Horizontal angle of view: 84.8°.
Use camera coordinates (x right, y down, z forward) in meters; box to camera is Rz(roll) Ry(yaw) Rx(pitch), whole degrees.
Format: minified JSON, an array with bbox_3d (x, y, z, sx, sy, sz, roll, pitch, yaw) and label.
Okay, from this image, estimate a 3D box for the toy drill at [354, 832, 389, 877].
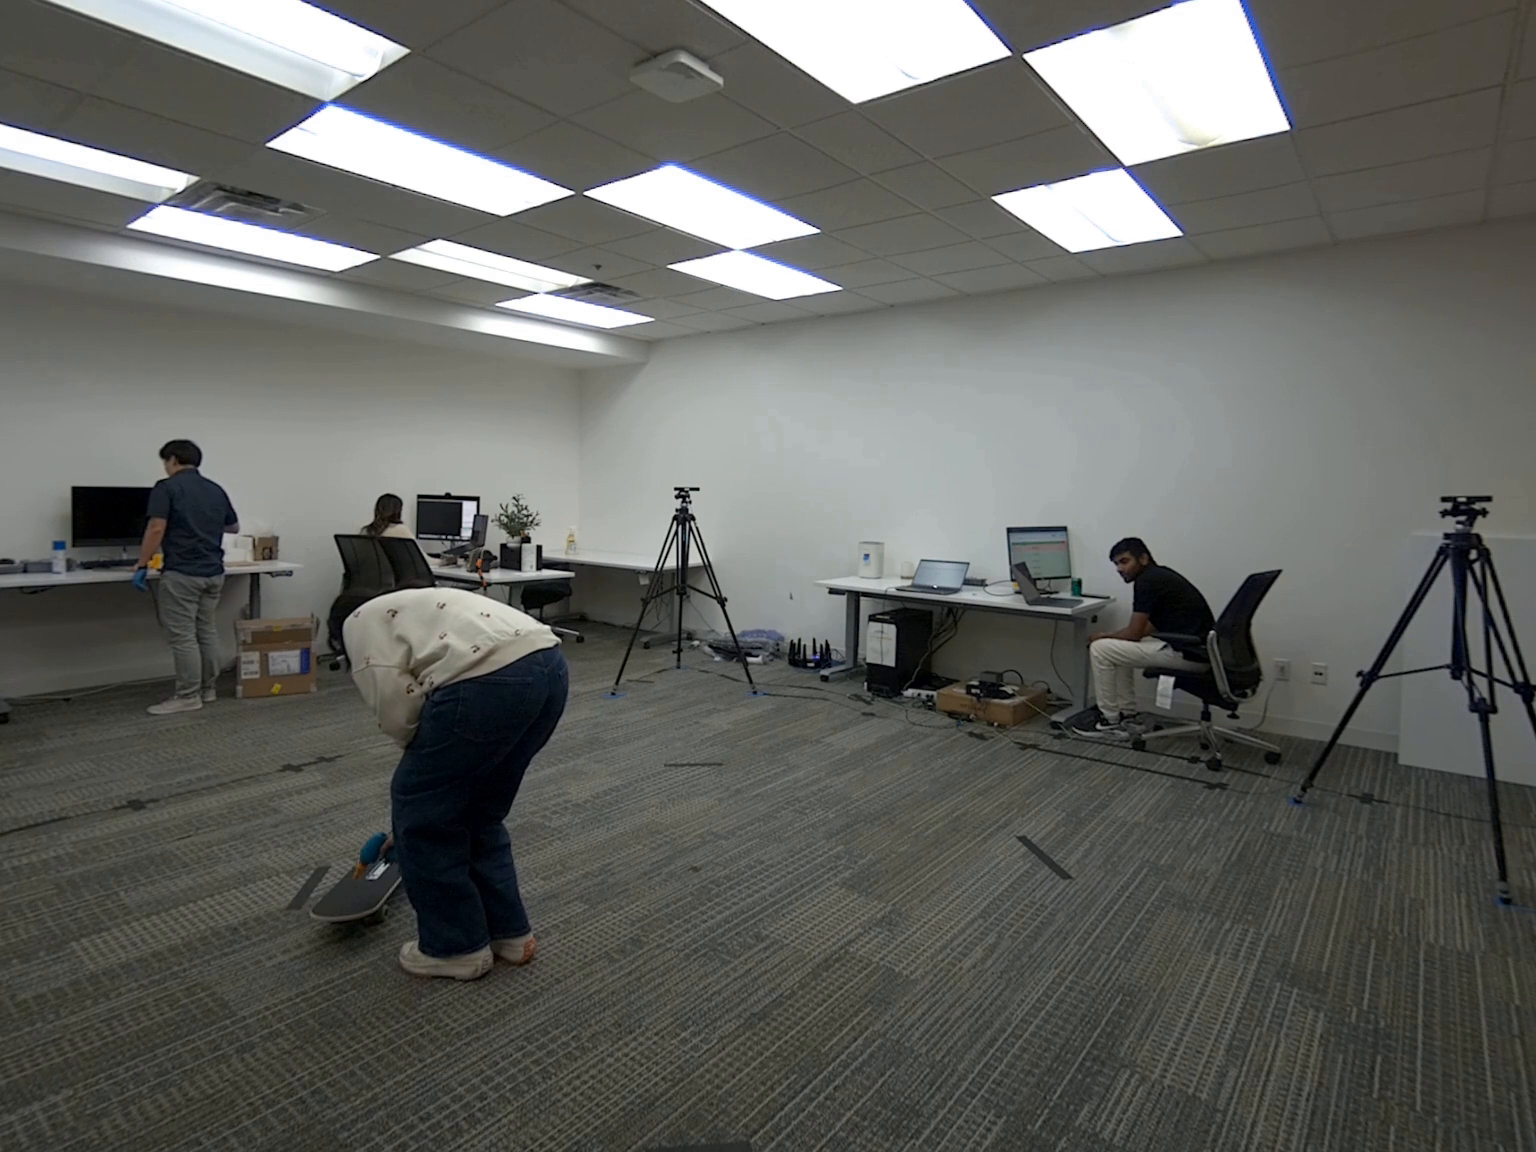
[{"bbox_3d":[-1.241,0.897,2.688,0.144,0.170,0.062,29,-3,-9],"label":"toy drill"}]
